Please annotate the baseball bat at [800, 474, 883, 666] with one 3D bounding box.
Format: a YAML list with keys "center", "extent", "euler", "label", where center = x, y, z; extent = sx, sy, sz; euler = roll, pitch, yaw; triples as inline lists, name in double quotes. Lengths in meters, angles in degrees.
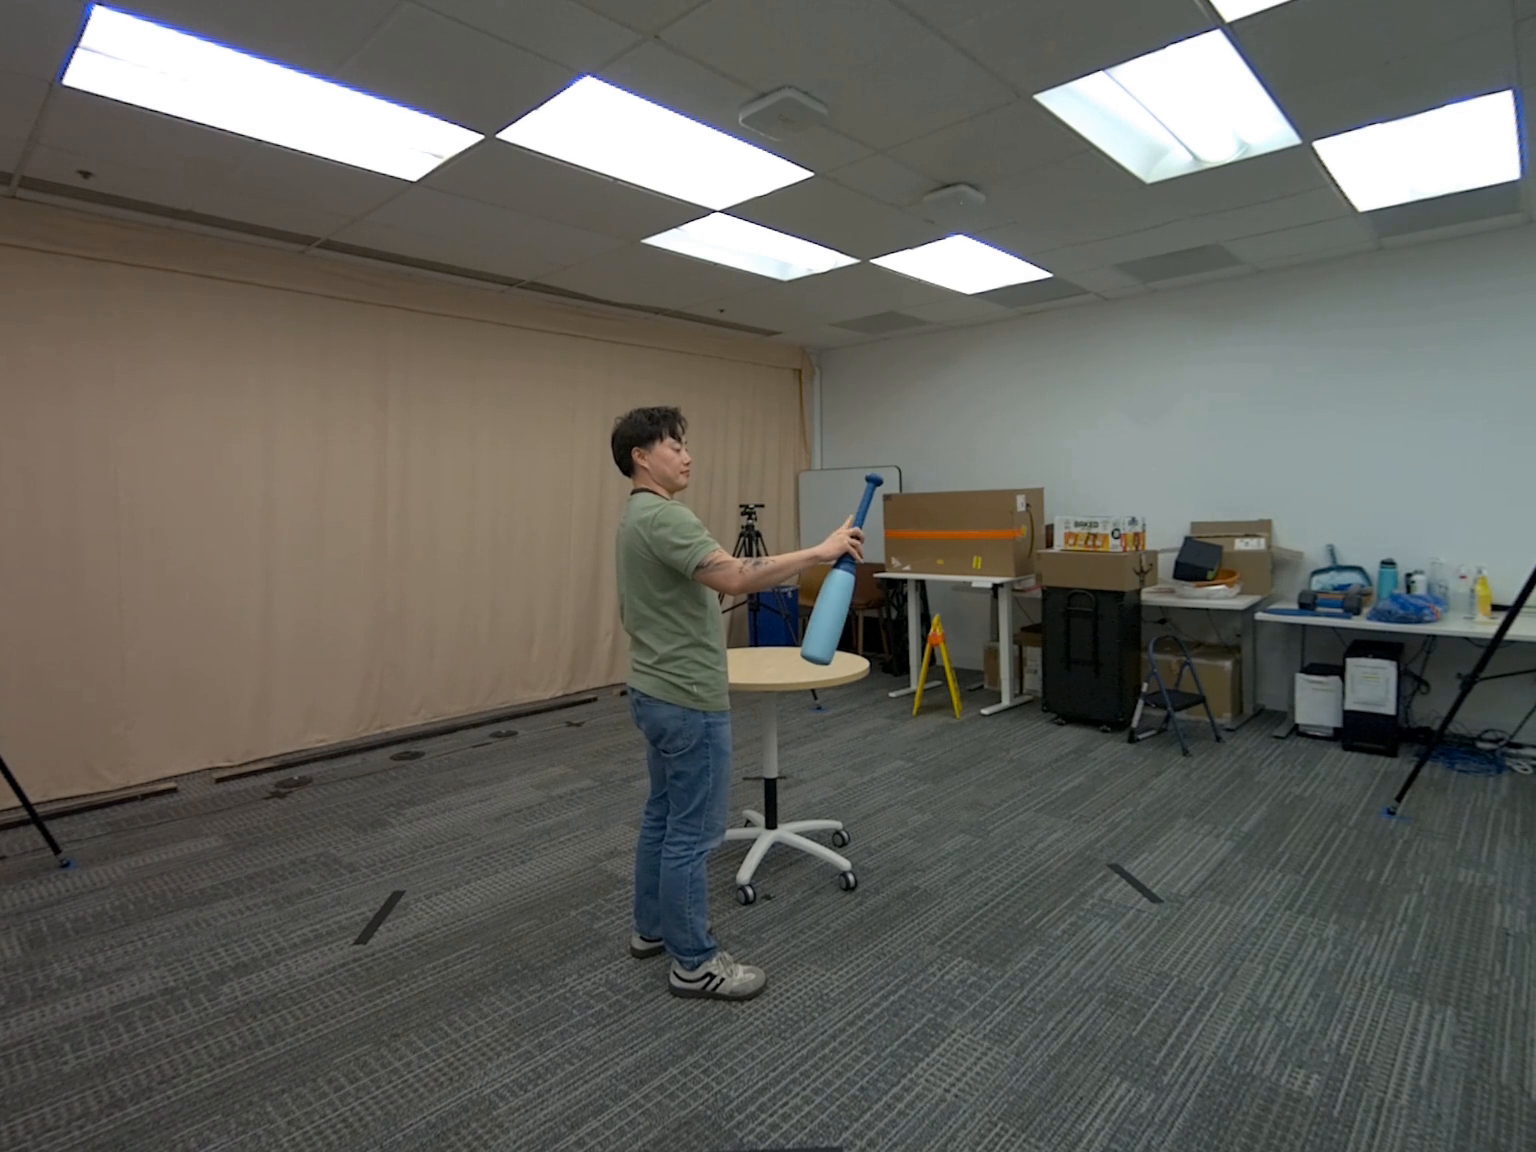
- center: [0.220, -0.026, 2.241]
  extent: [0.089, 0.544, 0.088]
  euler: [19, -12, 2]
  label: "baseball bat"
